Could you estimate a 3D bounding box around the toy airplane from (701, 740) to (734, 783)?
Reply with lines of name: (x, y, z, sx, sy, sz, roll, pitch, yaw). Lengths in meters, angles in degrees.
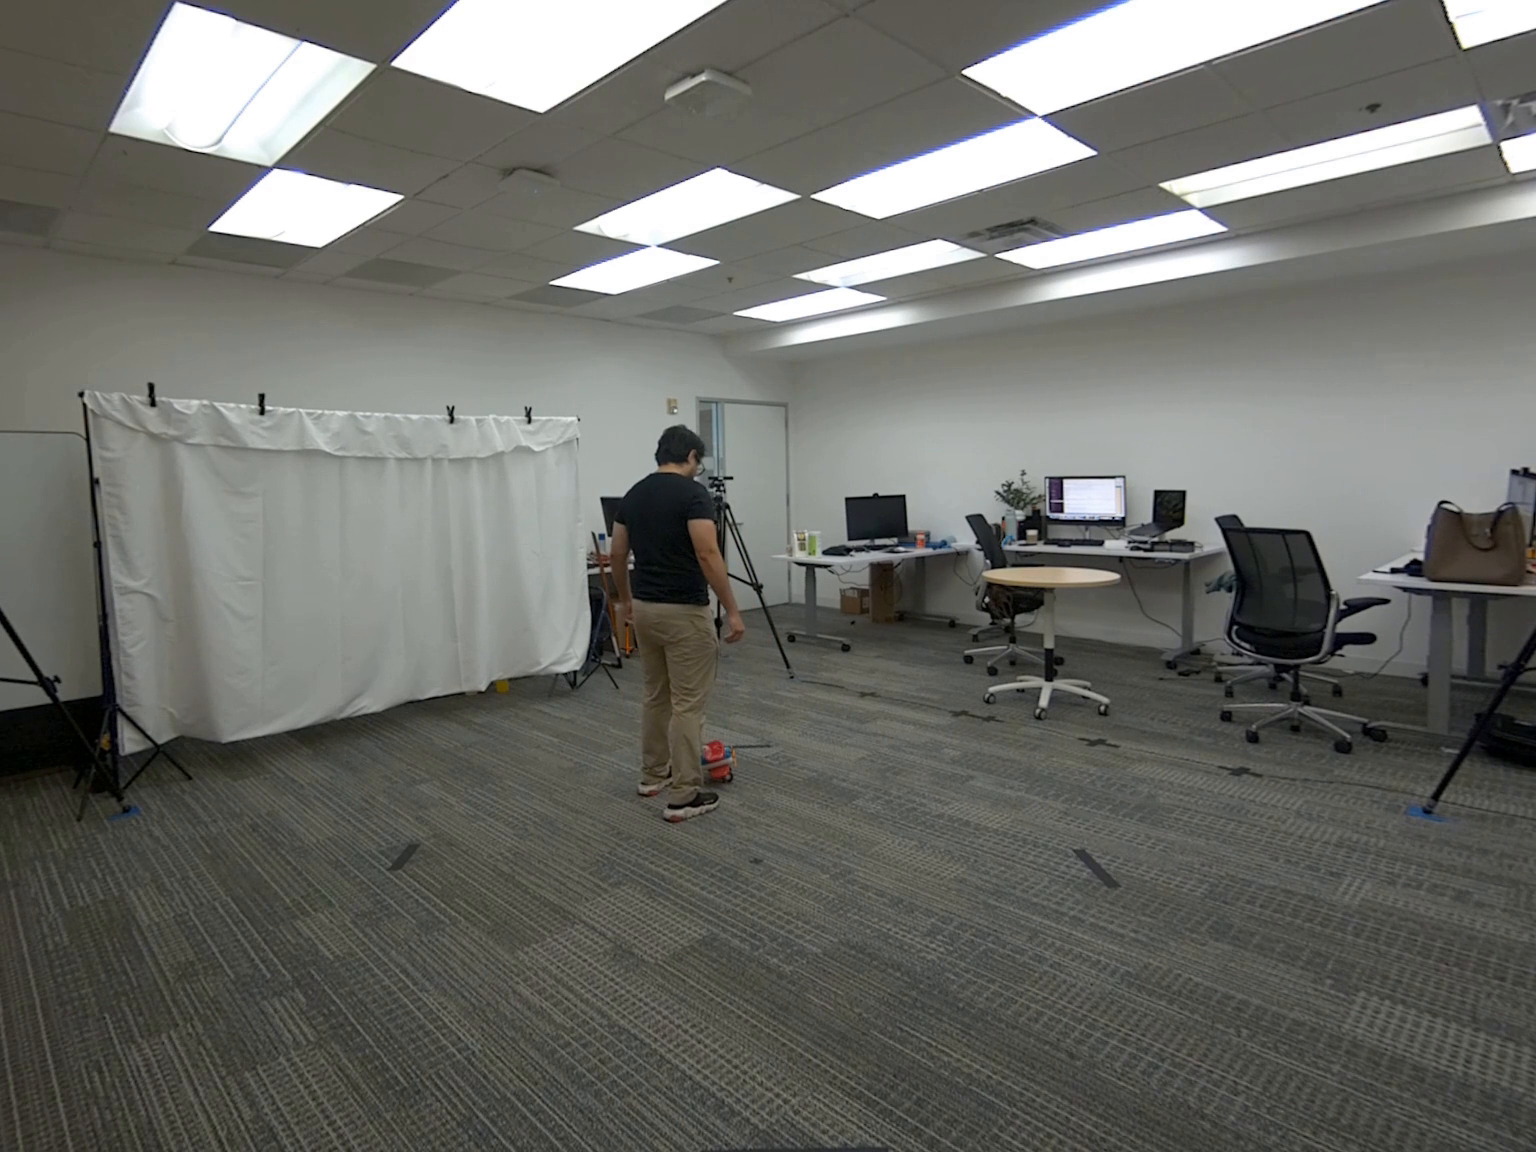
toy airplane: (-0.272, 0.872, 3.936, 0.252, 0.156, 0.258, -4, 6, -35)
